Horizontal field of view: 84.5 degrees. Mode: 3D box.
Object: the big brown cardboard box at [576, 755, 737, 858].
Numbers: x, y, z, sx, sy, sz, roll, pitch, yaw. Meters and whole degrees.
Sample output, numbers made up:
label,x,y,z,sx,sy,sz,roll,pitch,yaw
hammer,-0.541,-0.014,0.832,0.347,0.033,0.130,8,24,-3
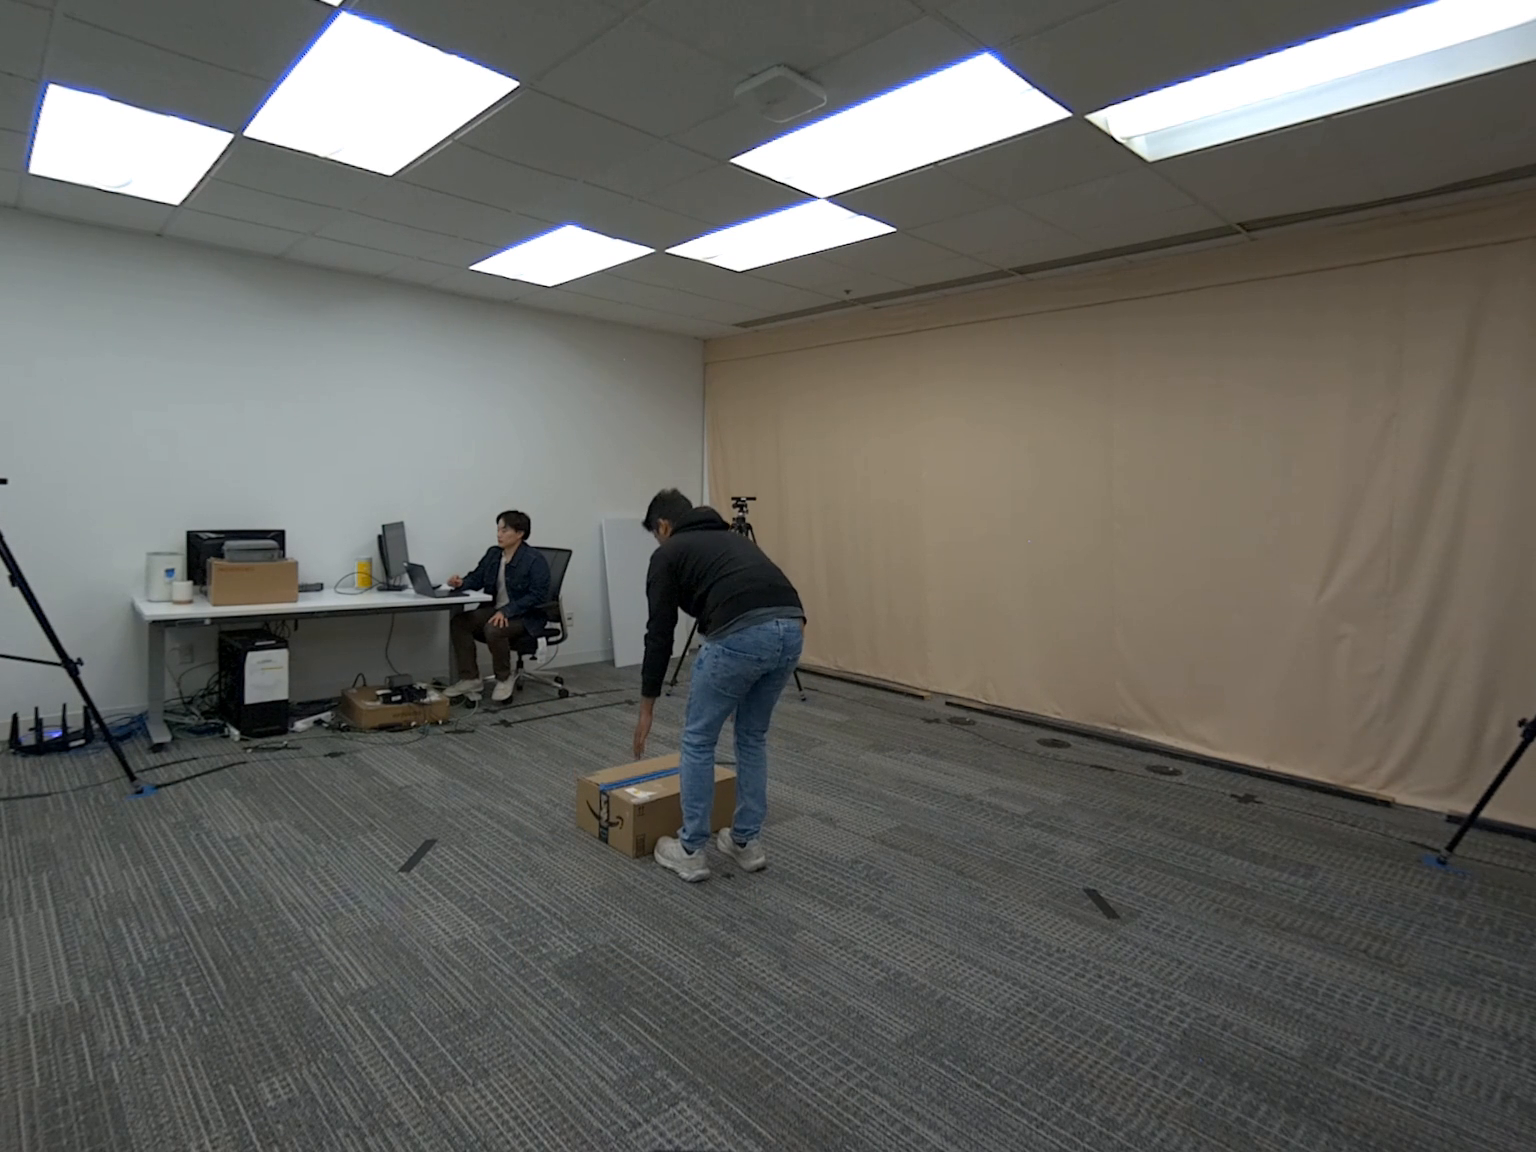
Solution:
label,x,y,z,sx,sy,sz,roll,pitch,yaw
big brown cardboard box,-0.465,0.946,3.558,0.575,0.232,0.428,-2,6,-44
